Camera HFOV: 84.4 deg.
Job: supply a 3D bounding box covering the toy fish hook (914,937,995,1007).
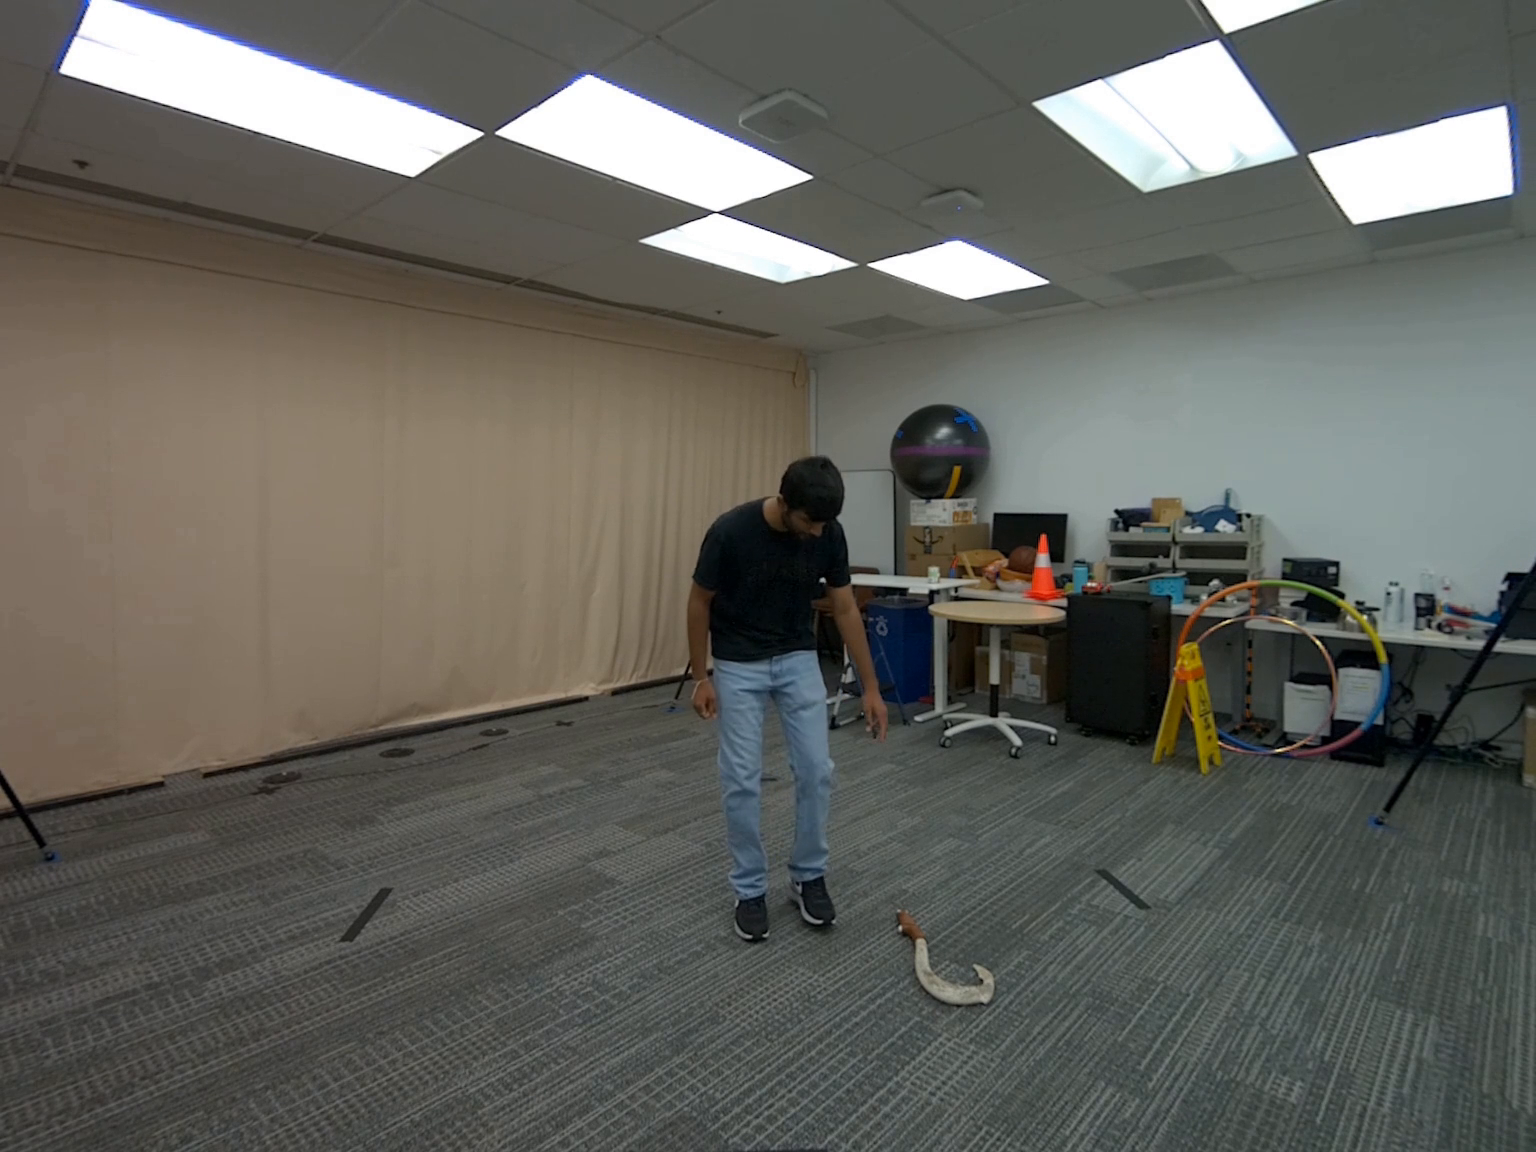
[{"bbox_3d":[0.535,1.161,2.581,0.223,0.048,0.511,7,4,-8],"label":"toy fish hook"}]
